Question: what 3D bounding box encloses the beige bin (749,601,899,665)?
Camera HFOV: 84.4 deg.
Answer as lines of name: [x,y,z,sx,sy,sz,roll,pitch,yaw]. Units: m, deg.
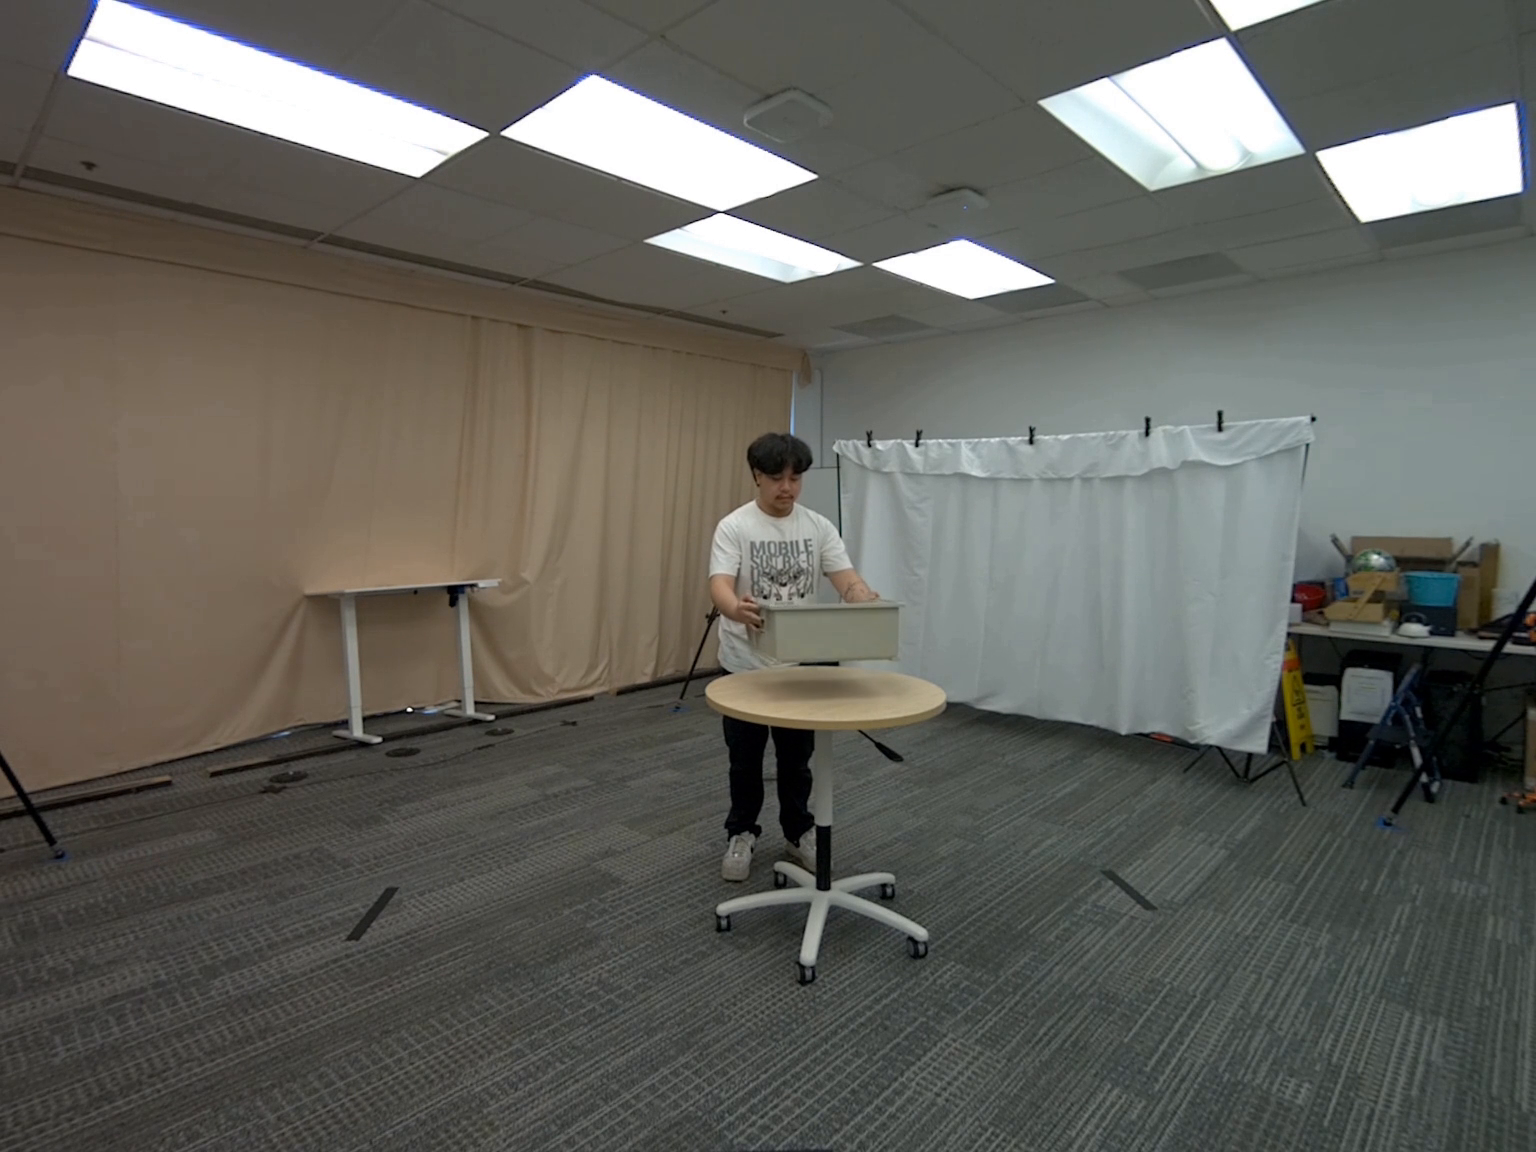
beige bin: [0.171,0.175,2.705,0.418,0.188,0.382,2,4,-11]
